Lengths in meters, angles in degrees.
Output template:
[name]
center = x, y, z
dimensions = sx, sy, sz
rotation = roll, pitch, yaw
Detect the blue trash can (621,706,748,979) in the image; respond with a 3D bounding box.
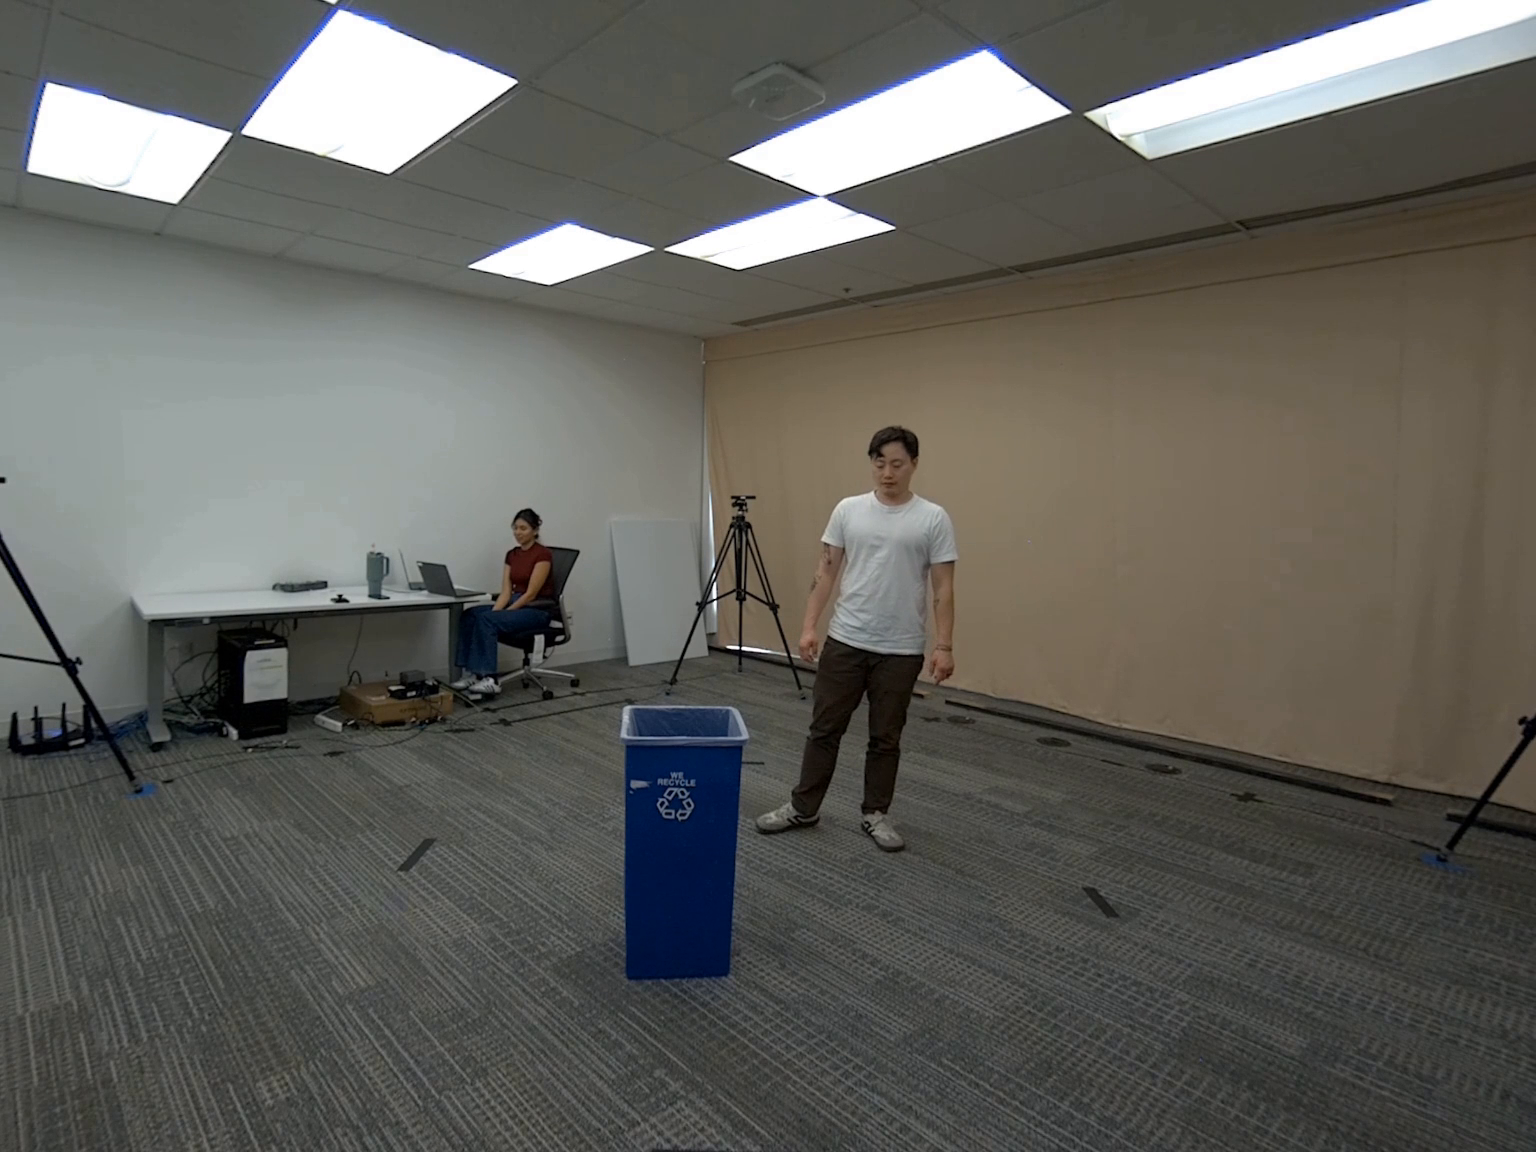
[blue trash can]
center = -0.274, 0.796, 2.544
dimensions = 0.376, 0.712, 0.377
rotation = 1, 3, -7
